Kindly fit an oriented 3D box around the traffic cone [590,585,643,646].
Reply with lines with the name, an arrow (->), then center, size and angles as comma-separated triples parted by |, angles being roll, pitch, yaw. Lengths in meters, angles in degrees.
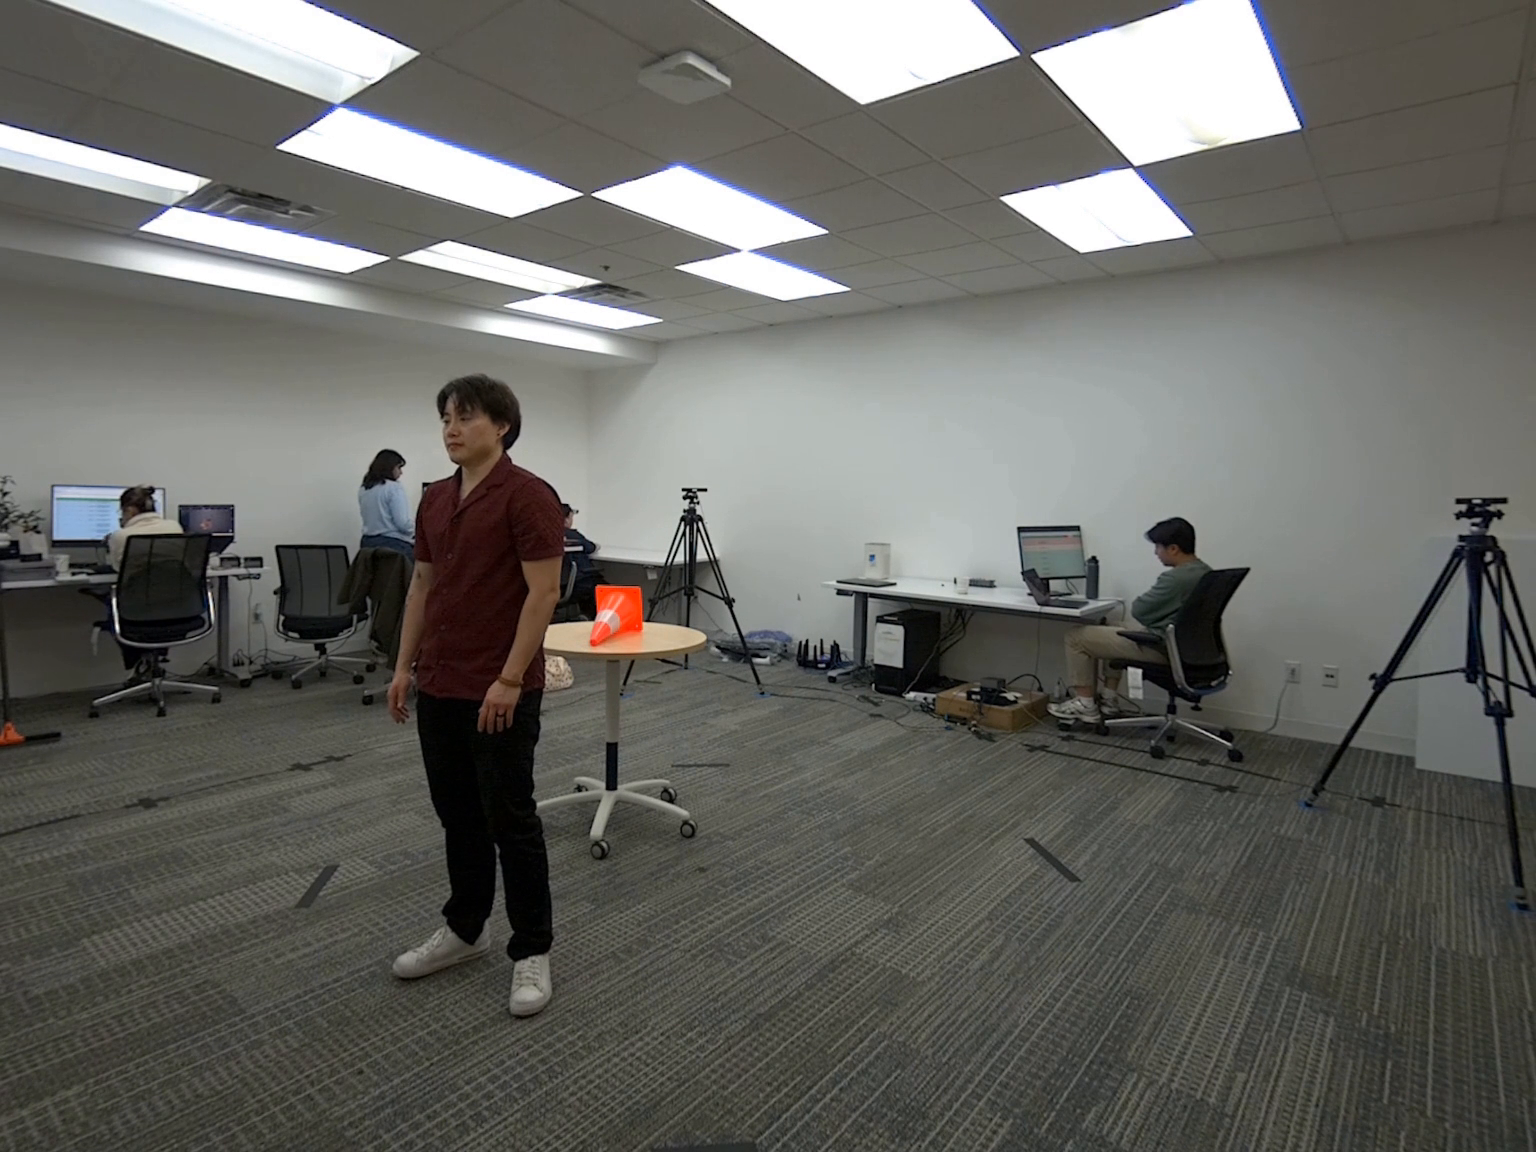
traffic cone -> -0.668, 0.184, 3.421 | 0.205, 0.202, 0.386 | -4, 14, 6
